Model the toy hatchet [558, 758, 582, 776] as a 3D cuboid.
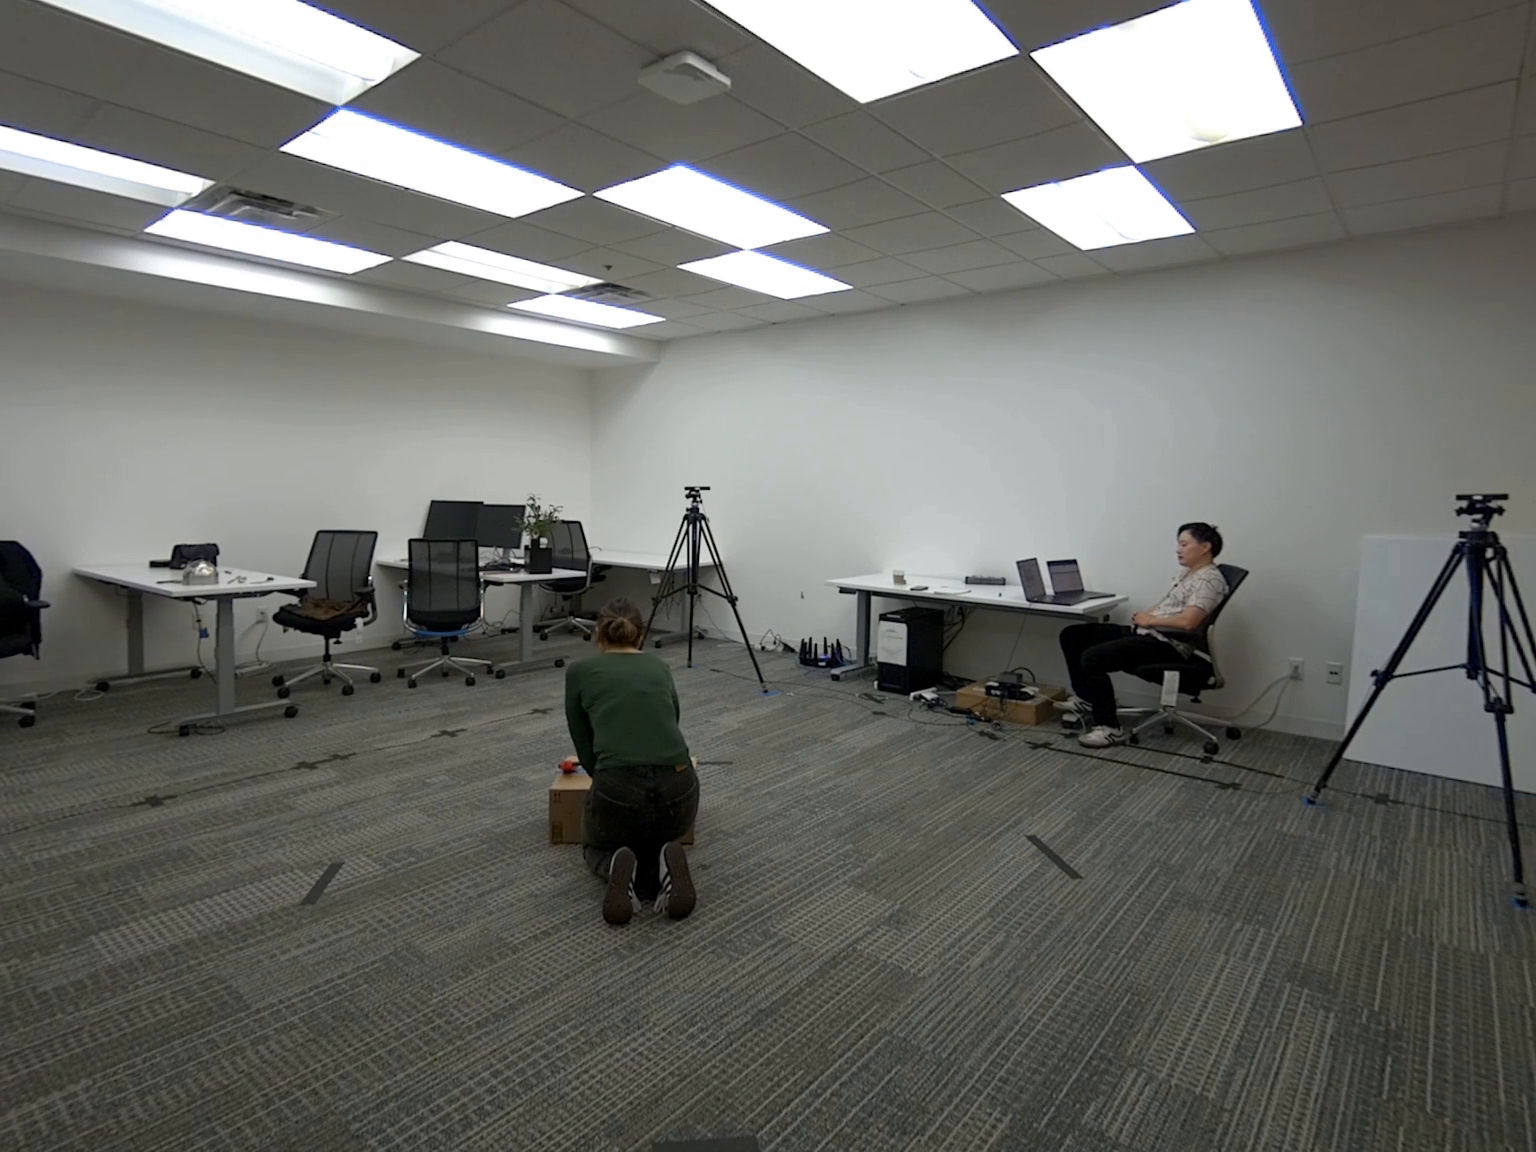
[{"bbox_3d":[-0.745,0.770,3.488,0.263,0.030,0.131,3,-28,-27],"label":"toy hatchet"}]
